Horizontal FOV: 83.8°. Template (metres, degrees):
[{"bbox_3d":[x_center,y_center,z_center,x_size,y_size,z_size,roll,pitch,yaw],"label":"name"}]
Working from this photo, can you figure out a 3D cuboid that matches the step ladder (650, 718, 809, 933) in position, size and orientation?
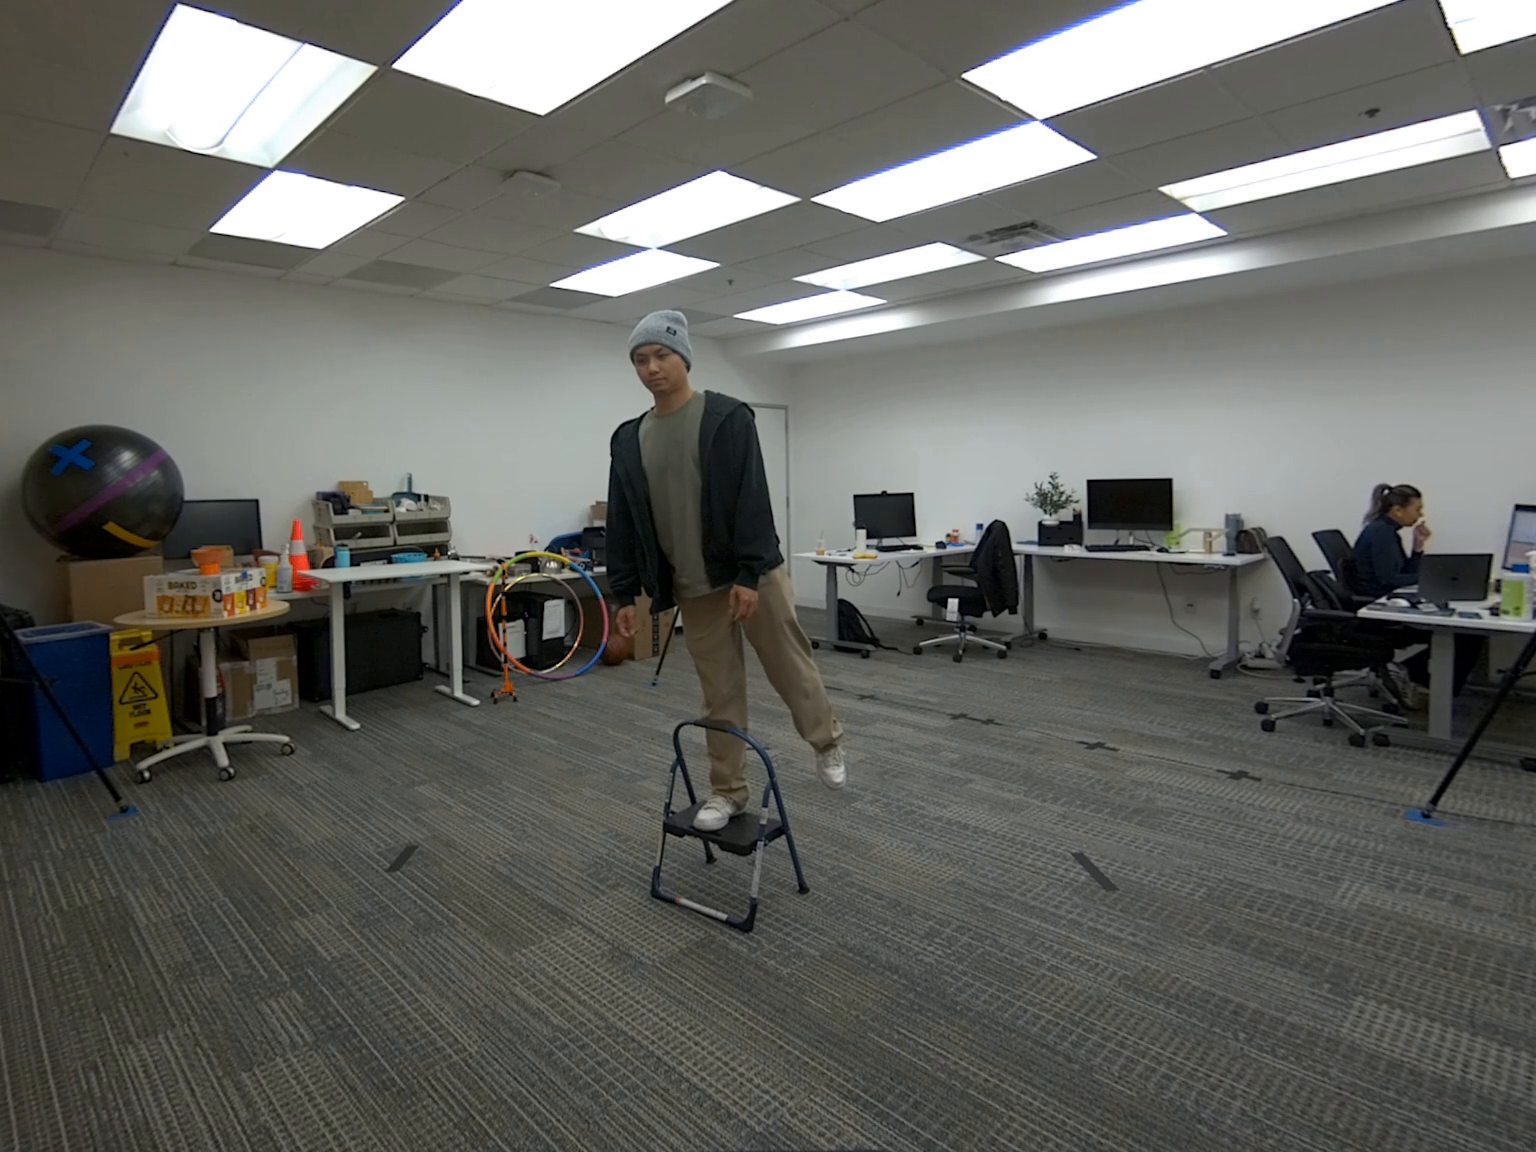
[{"bbox_3d":[-0.135,0.773,2.865,0.443,0.604,0.341,2,6,35],"label":"step ladder"}]
